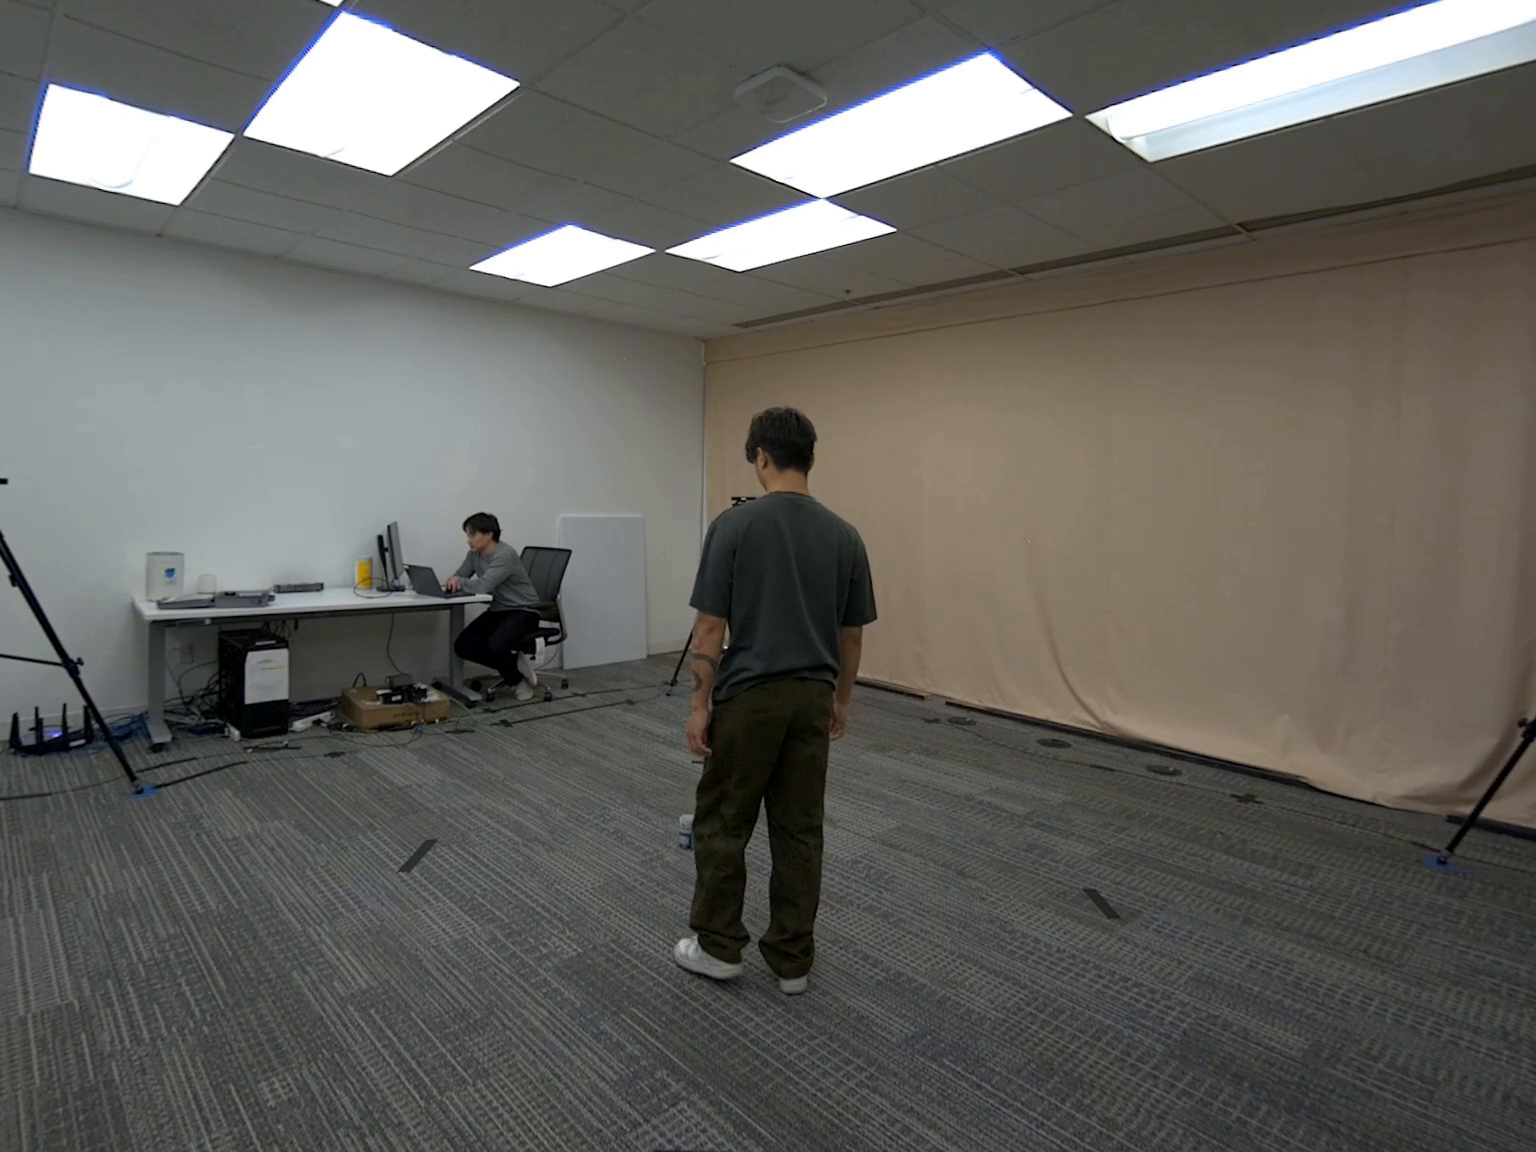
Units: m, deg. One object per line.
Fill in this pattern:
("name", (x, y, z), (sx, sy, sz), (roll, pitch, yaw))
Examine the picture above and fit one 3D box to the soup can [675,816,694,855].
("soup can", (-0.329, 1.025, 3.351), (0.067, 0.121, 0.067), (2, 1, -1))
